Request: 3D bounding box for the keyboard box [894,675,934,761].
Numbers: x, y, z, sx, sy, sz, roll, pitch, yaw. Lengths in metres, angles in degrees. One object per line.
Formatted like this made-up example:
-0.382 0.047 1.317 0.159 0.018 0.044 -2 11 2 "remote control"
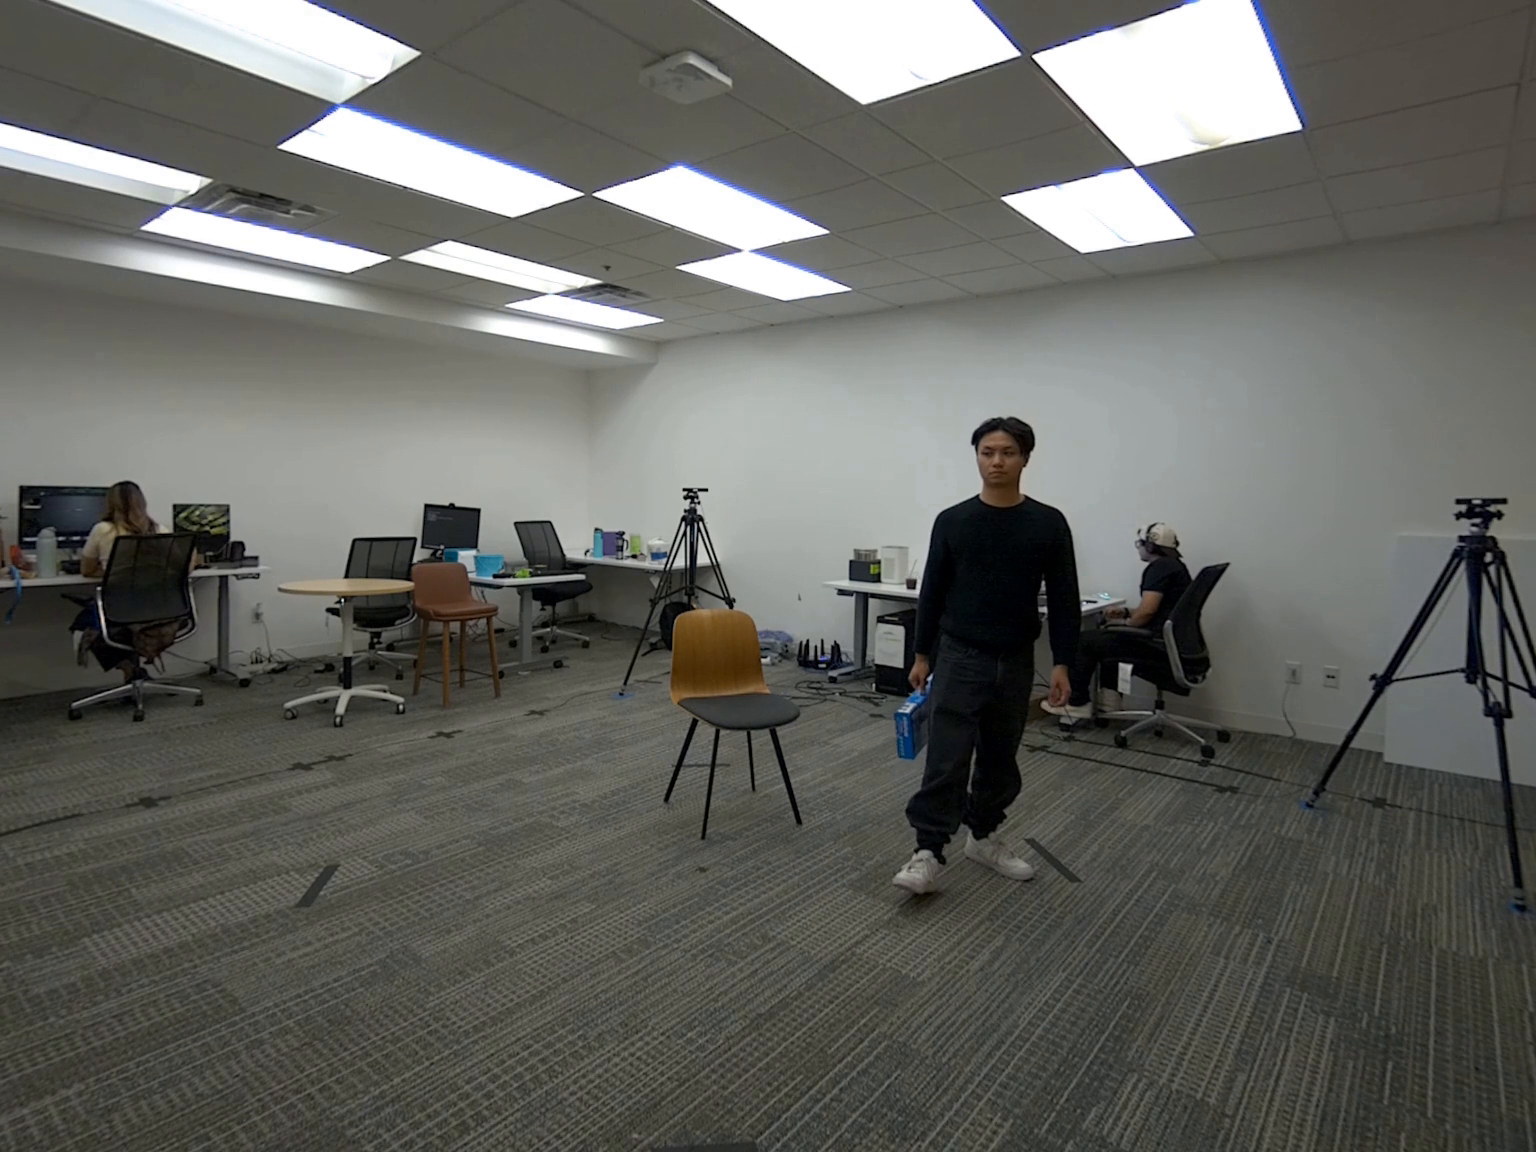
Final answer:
0.571 0.517 3.189 0.061 0.174 0.429 -1 12 29 "keyboard box"
